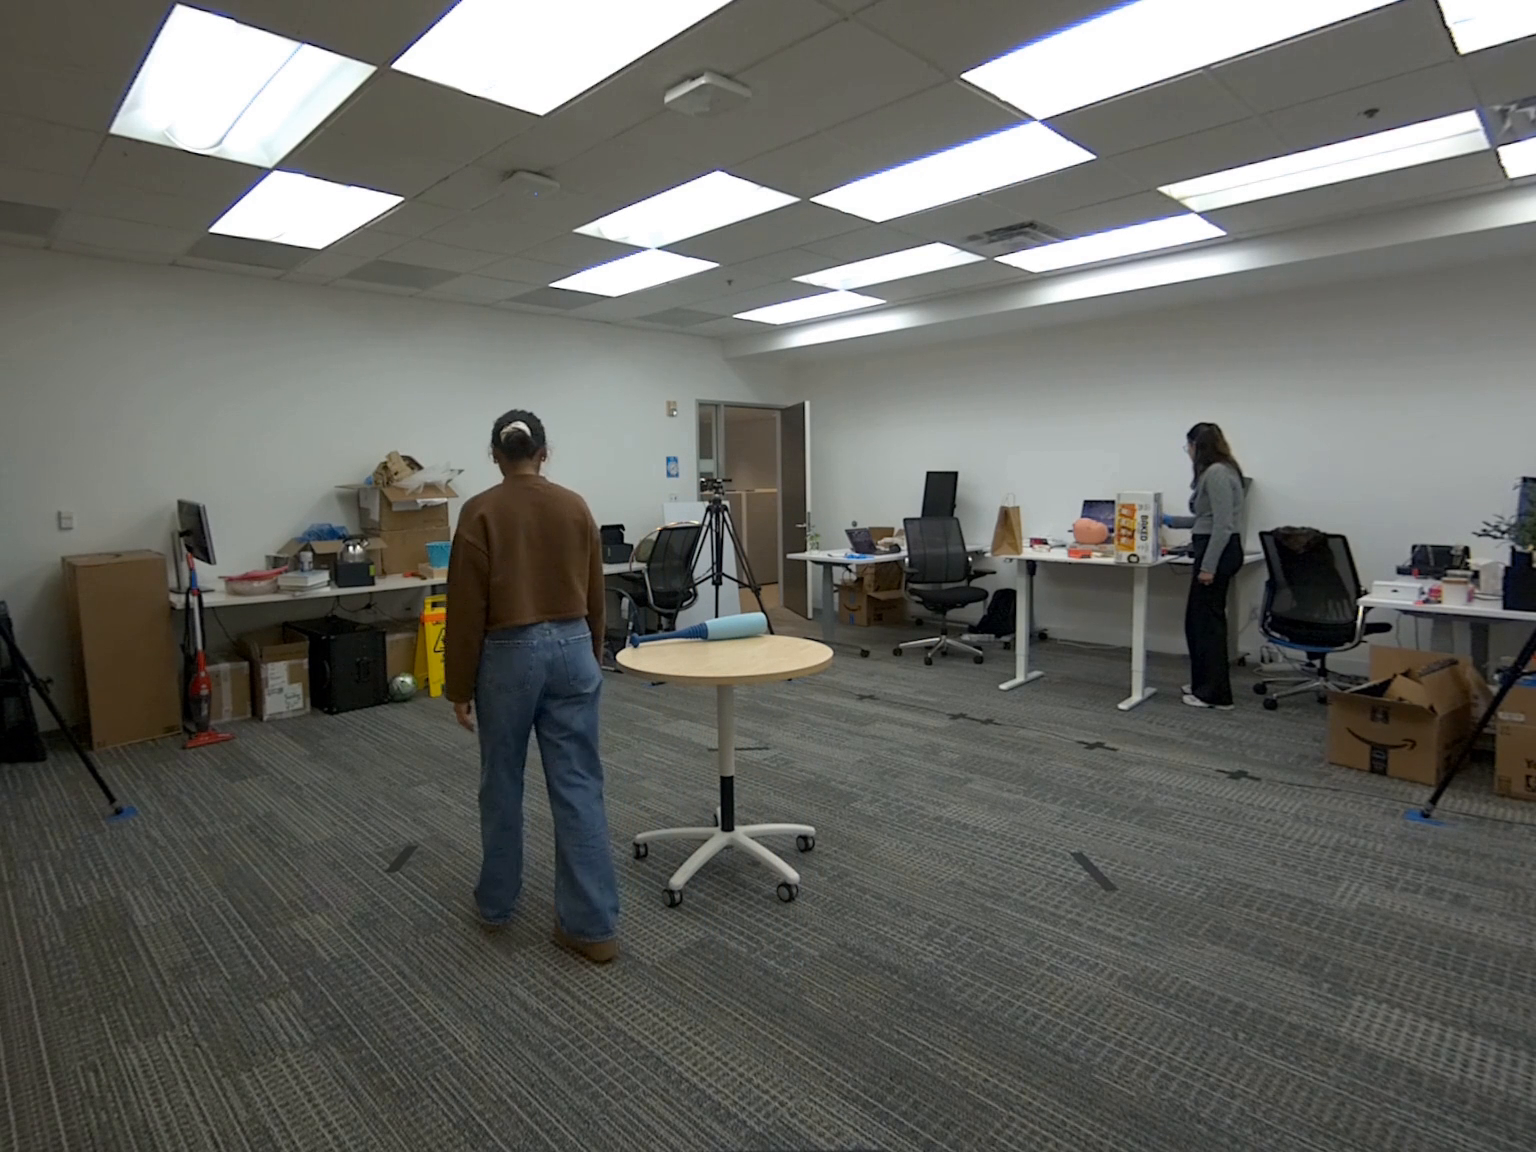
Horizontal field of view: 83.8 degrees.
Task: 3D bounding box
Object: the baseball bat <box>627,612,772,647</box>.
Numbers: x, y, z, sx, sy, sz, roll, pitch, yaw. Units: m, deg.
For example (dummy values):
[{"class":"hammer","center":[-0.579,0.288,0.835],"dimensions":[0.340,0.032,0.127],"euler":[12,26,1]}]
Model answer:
[{"class":"baseball bat","center":[-0.265,0.216,3.263],"dimensions":[0.534,0.088,0.091],"euler":[-7,6,-20]}]
